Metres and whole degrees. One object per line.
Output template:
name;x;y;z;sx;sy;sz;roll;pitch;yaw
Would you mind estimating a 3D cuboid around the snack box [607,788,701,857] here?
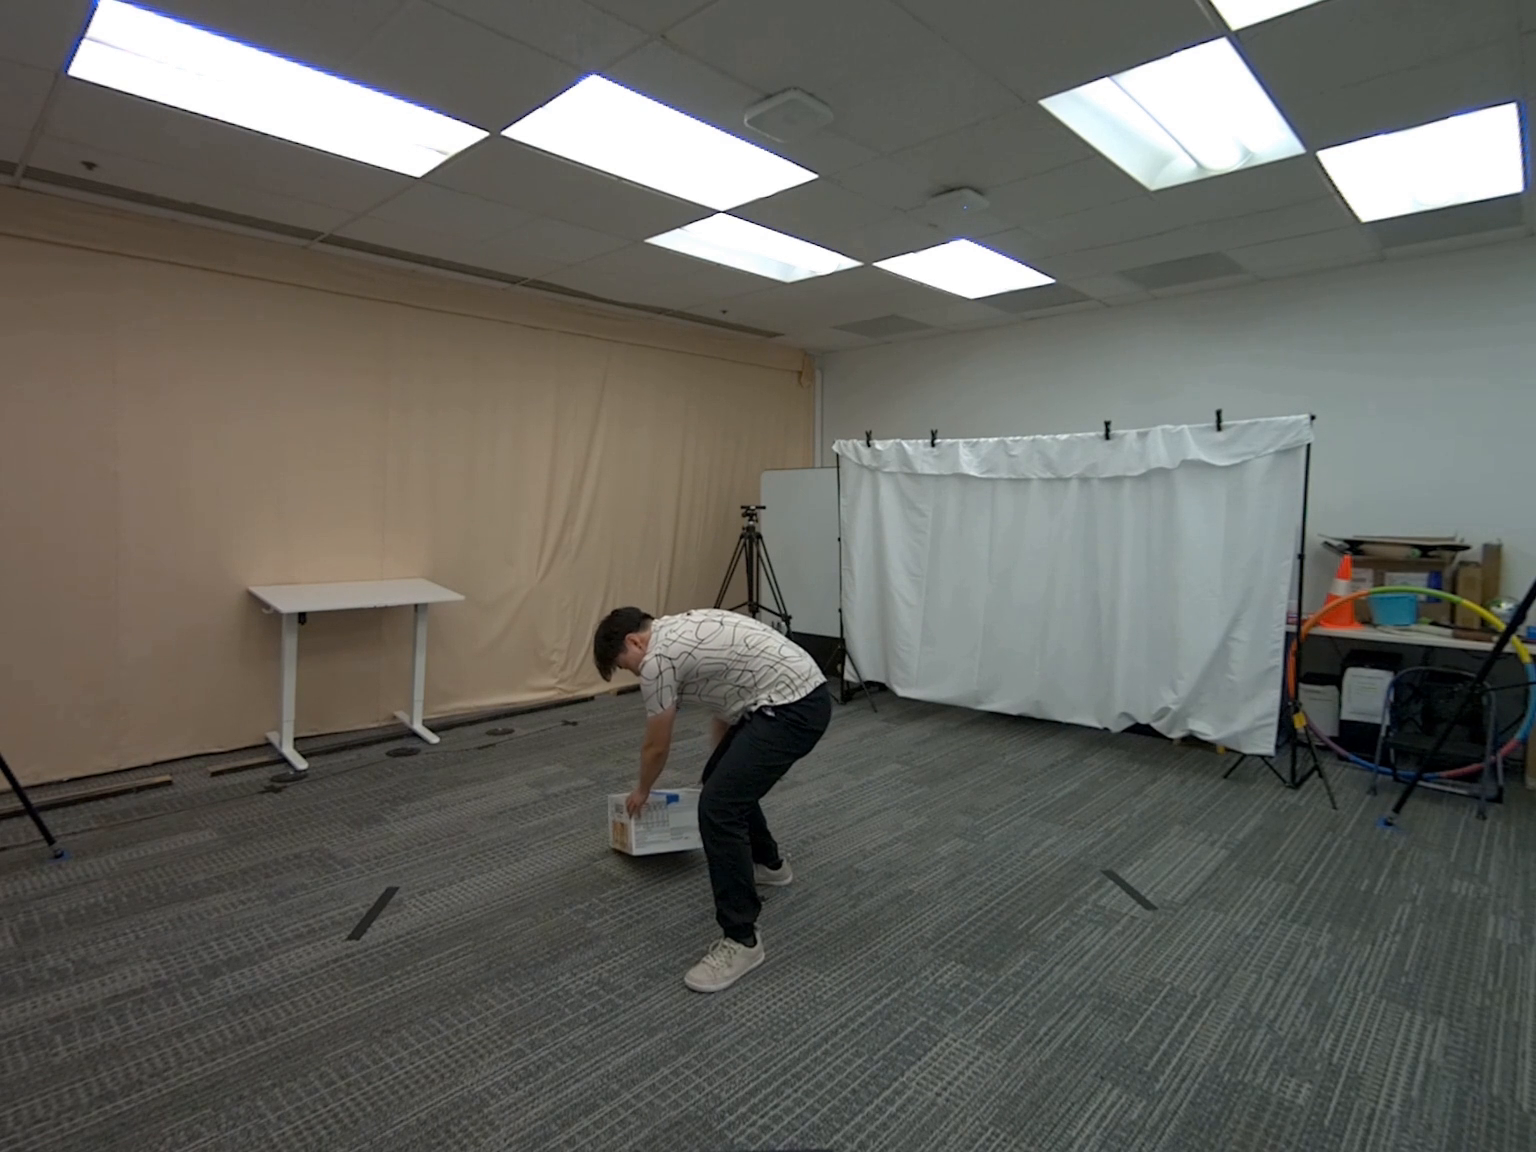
snack box;-0.419;0.962;3.323;0.333;0.207;0.410;-1;-12;-21
